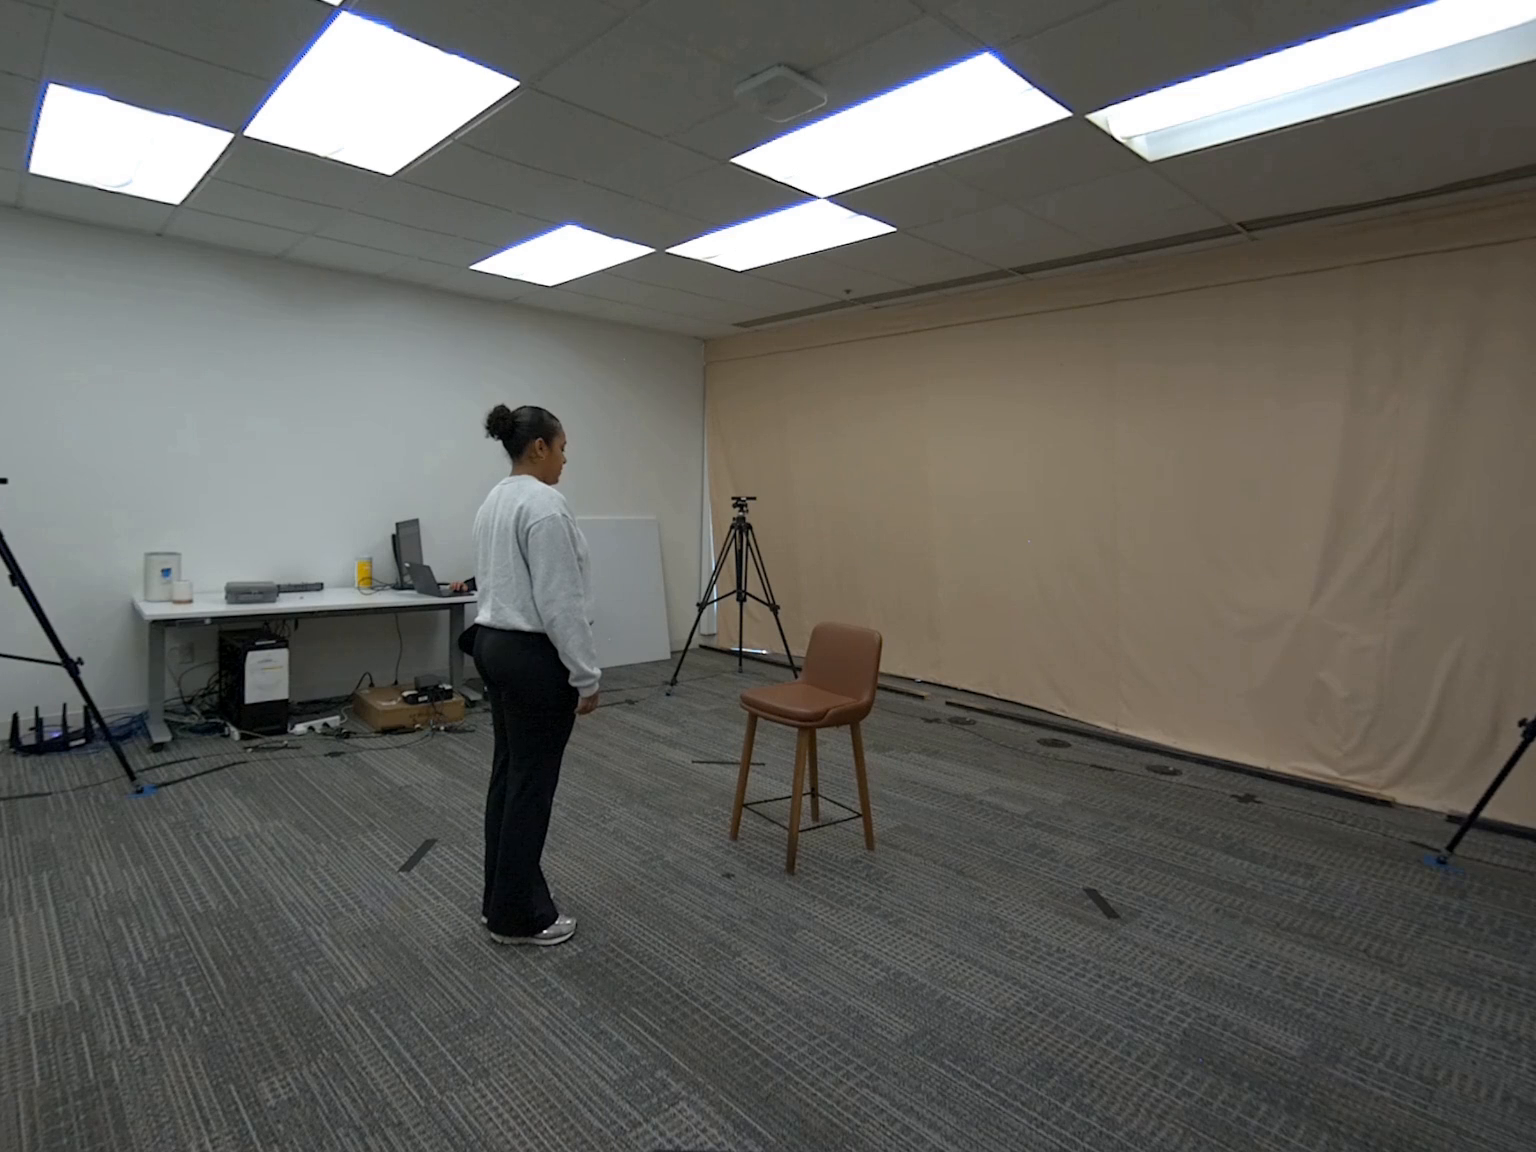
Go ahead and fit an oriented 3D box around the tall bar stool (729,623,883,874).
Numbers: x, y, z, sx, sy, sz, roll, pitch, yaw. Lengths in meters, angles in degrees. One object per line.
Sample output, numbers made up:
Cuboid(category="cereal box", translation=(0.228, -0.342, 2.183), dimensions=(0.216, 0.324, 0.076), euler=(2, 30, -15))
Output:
Cuboid(category="tall bar stool", translation=(0.152, 0.653, 3.391), dimensions=(0.457, 0.889, 0.467), euler=(2, 2, -35))
